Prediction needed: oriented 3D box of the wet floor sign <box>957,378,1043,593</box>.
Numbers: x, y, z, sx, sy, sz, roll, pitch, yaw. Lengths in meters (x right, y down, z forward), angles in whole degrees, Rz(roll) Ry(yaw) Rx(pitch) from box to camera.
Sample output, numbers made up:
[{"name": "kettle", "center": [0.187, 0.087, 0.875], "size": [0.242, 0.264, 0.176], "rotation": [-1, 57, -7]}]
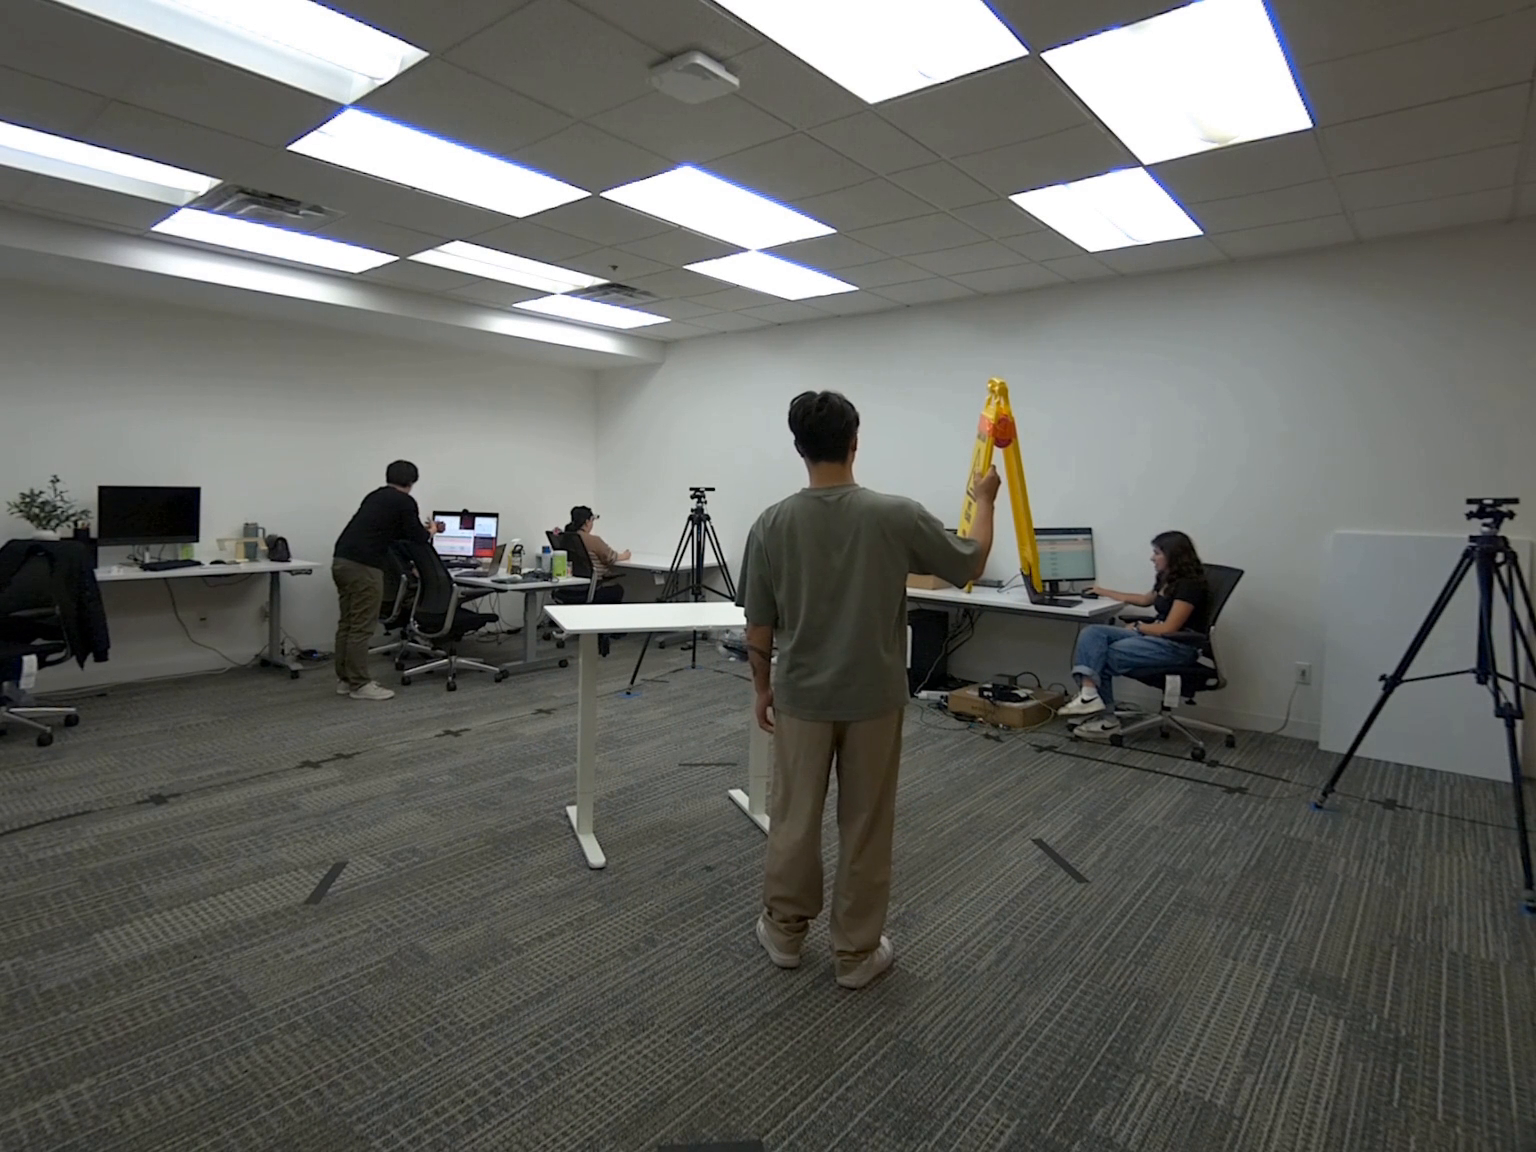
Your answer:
[{"name": "wet floor sign", "center": [0.720, -0.299, 2.691], "size": [0.291, 0.638, 0.284], "rotation": [-2, 13, 5]}]
